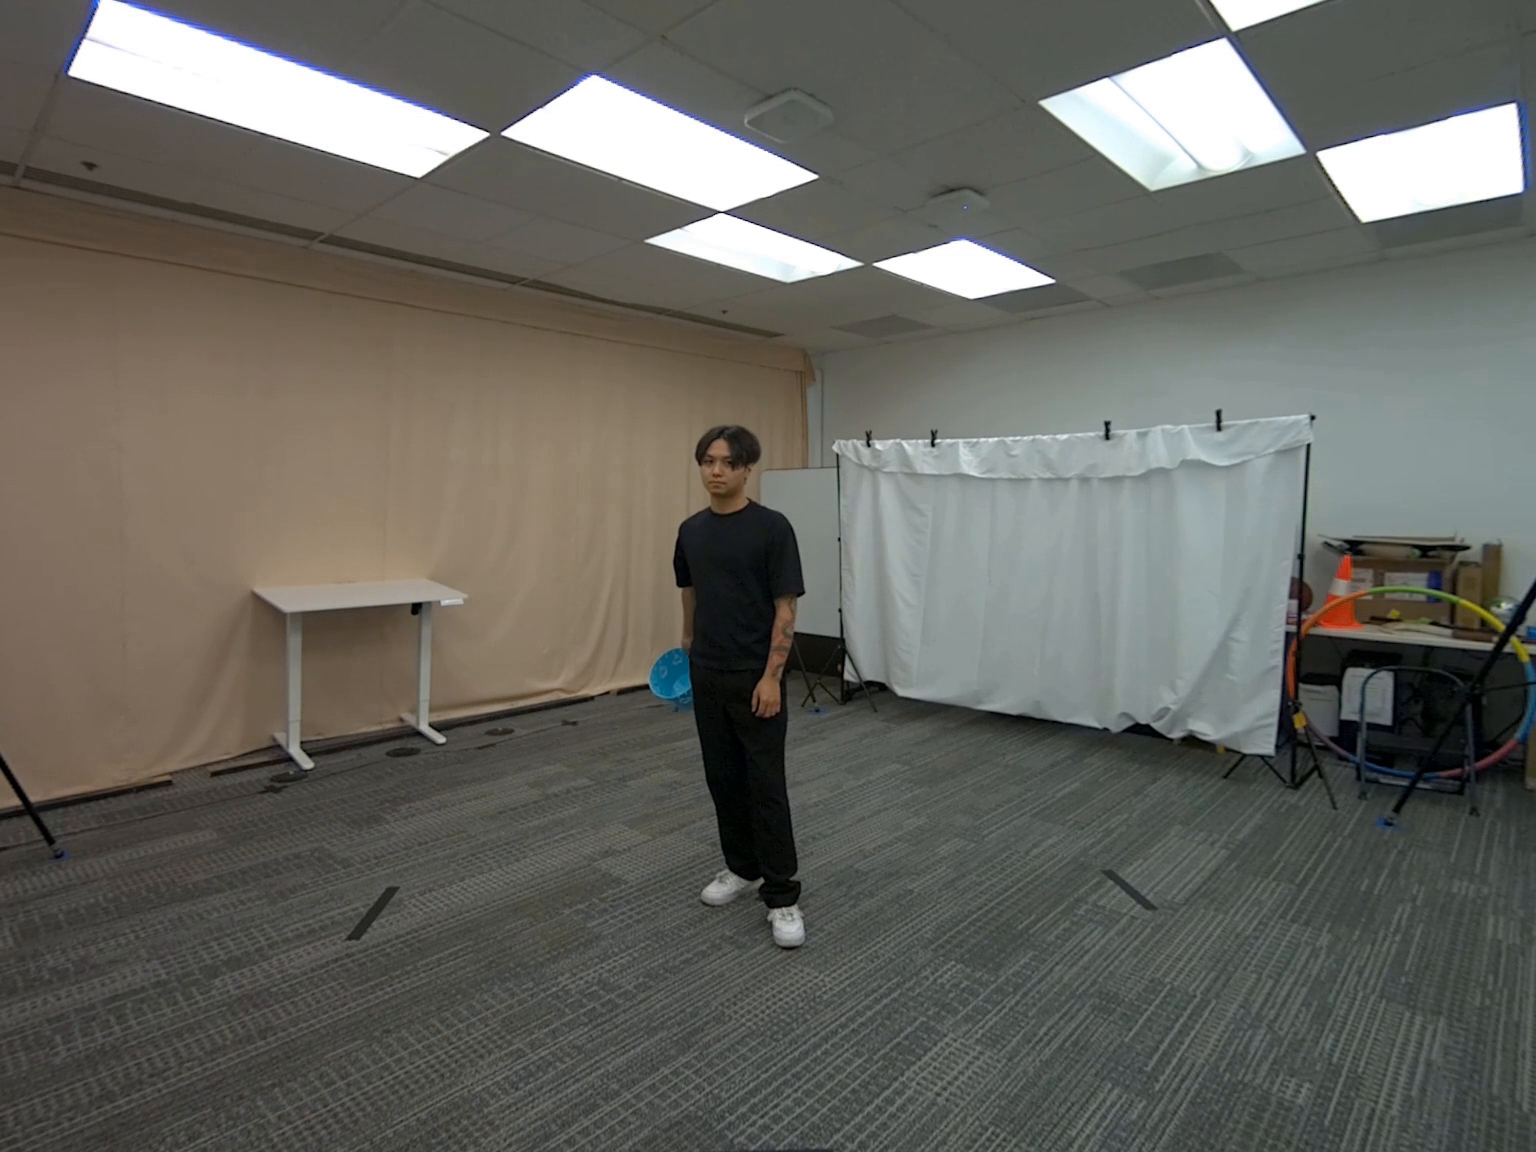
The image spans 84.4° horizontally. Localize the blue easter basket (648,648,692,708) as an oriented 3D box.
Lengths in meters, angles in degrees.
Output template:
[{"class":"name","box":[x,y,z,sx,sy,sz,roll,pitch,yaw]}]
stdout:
[{"class":"blue easter basket","box":[-0.349,0.425,3.421,0.250,0.245,0.151,2,-33,29]}]
